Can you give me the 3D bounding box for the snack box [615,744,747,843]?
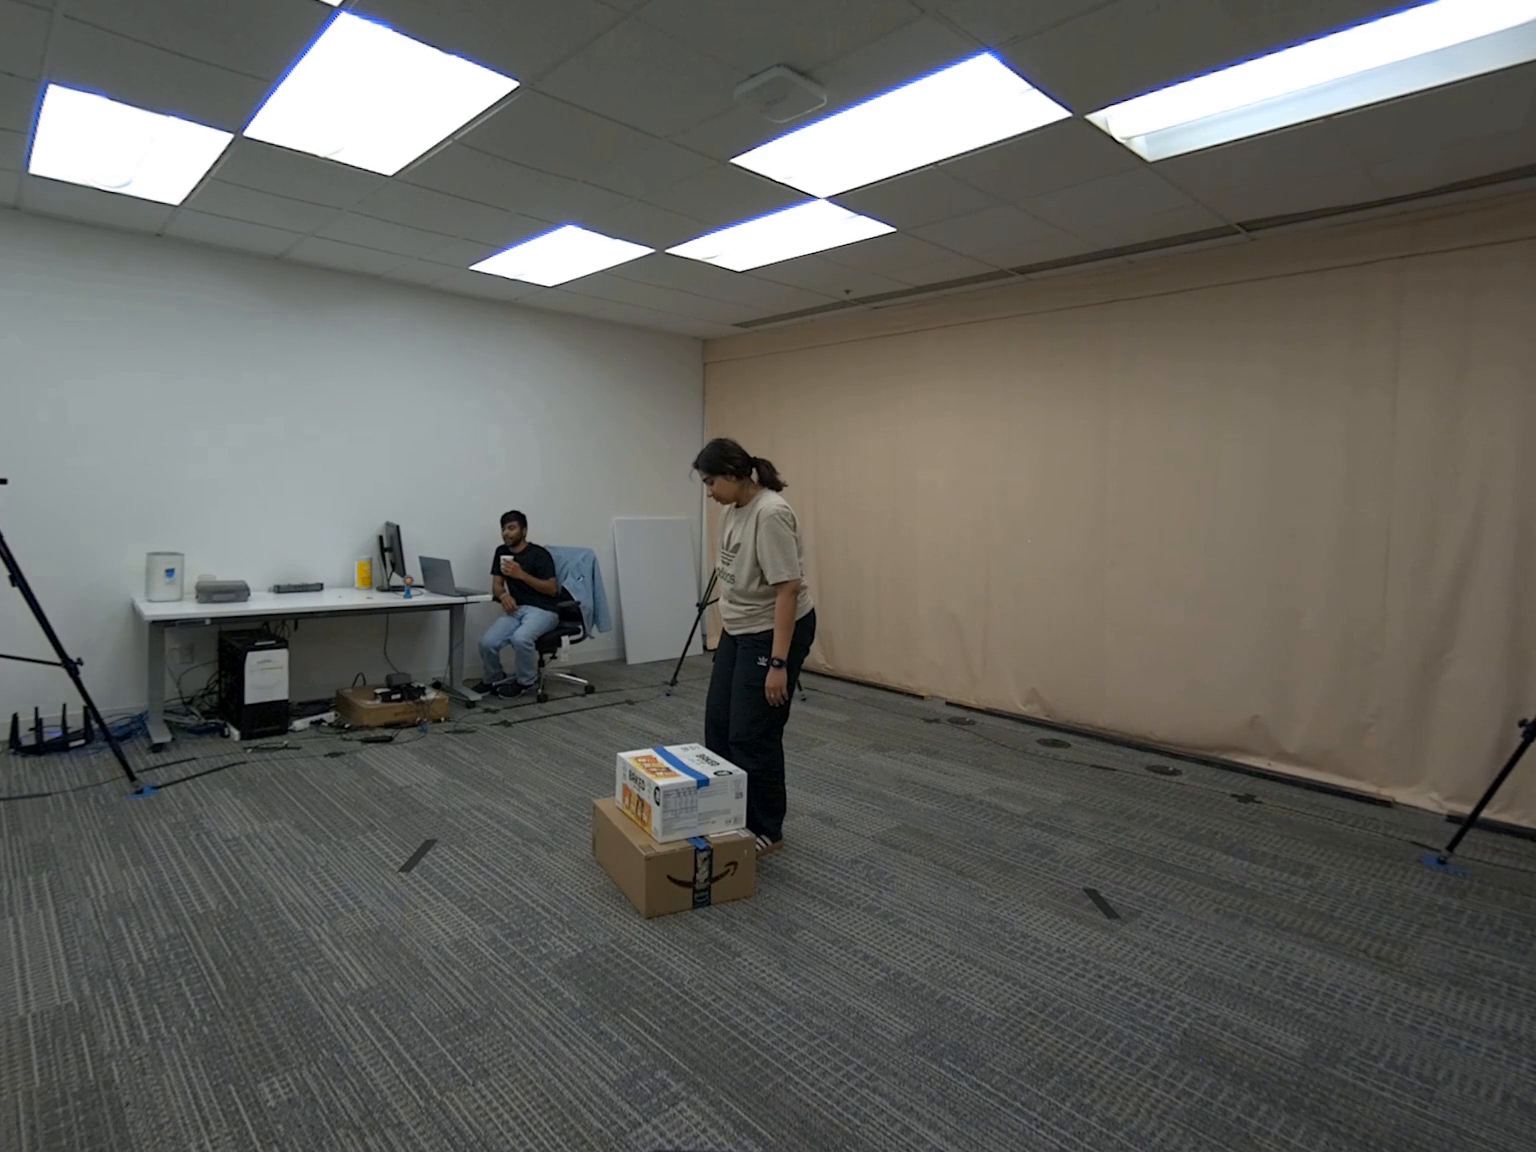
[{"bbox_3d":[-0.330,0.789,3.092,0.333,0.205,0.414,-1,5,-30],"label":"snack box"}]
